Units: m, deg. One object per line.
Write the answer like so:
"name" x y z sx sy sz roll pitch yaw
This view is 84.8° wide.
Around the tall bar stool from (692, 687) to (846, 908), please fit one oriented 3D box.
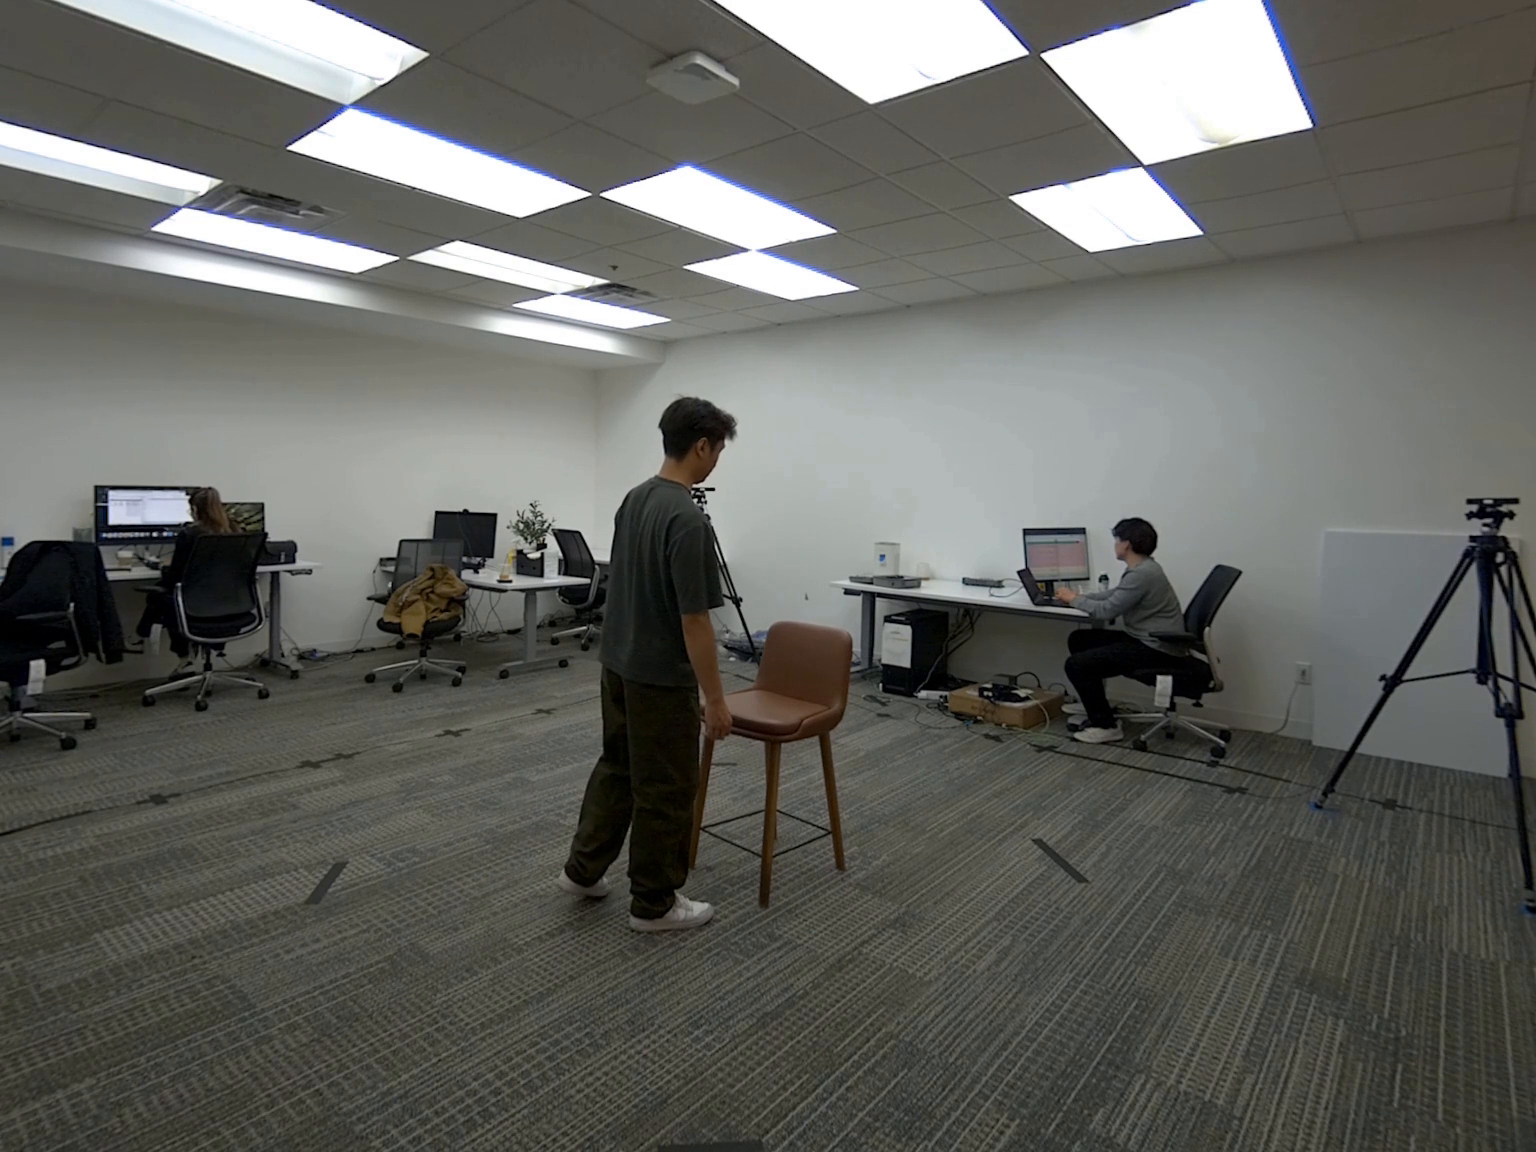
"tall bar stool" 0.006 0.636 3.106 0.452 0.888 0.472 1 2 -44
